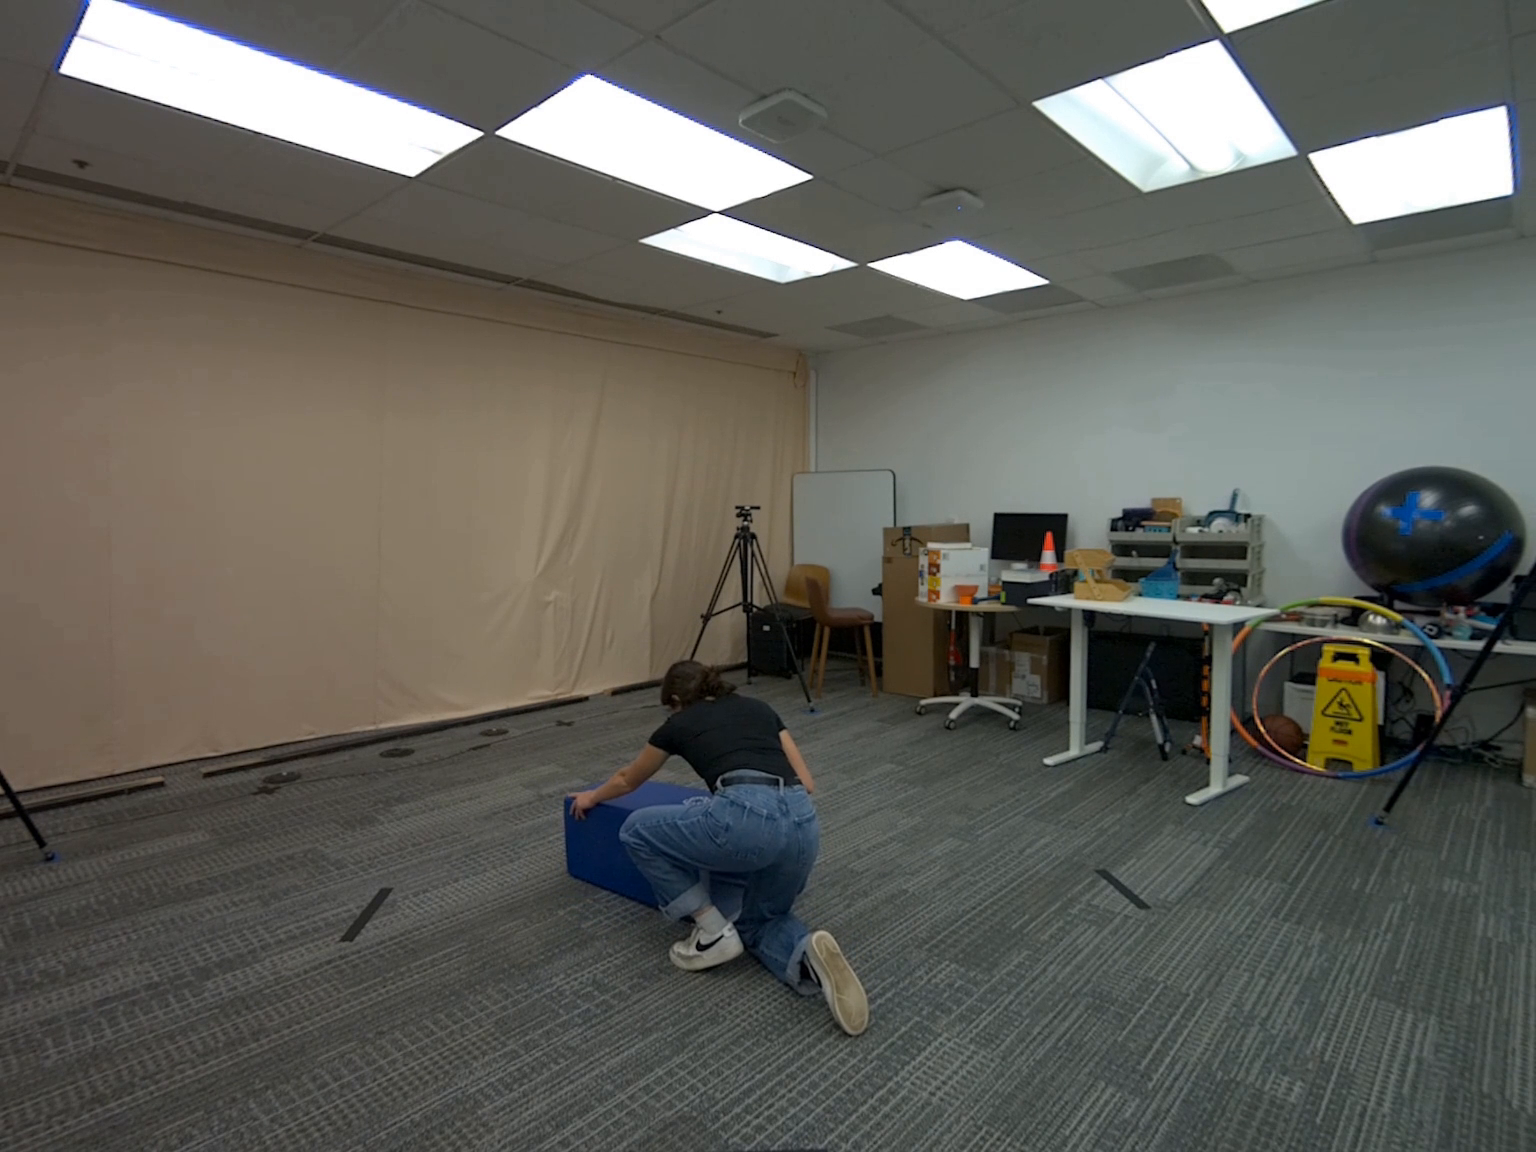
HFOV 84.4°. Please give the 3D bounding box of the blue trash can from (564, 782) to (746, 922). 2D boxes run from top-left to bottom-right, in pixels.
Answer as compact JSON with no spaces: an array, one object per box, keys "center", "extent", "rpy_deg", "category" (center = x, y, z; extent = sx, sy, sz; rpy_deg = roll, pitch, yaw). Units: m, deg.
[{"center":[-0.386,0.974,3.074],"extent":[0.735,0.377,0.363],"rpy_deg":[-1,4,35],"category":"blue trash can"}]
